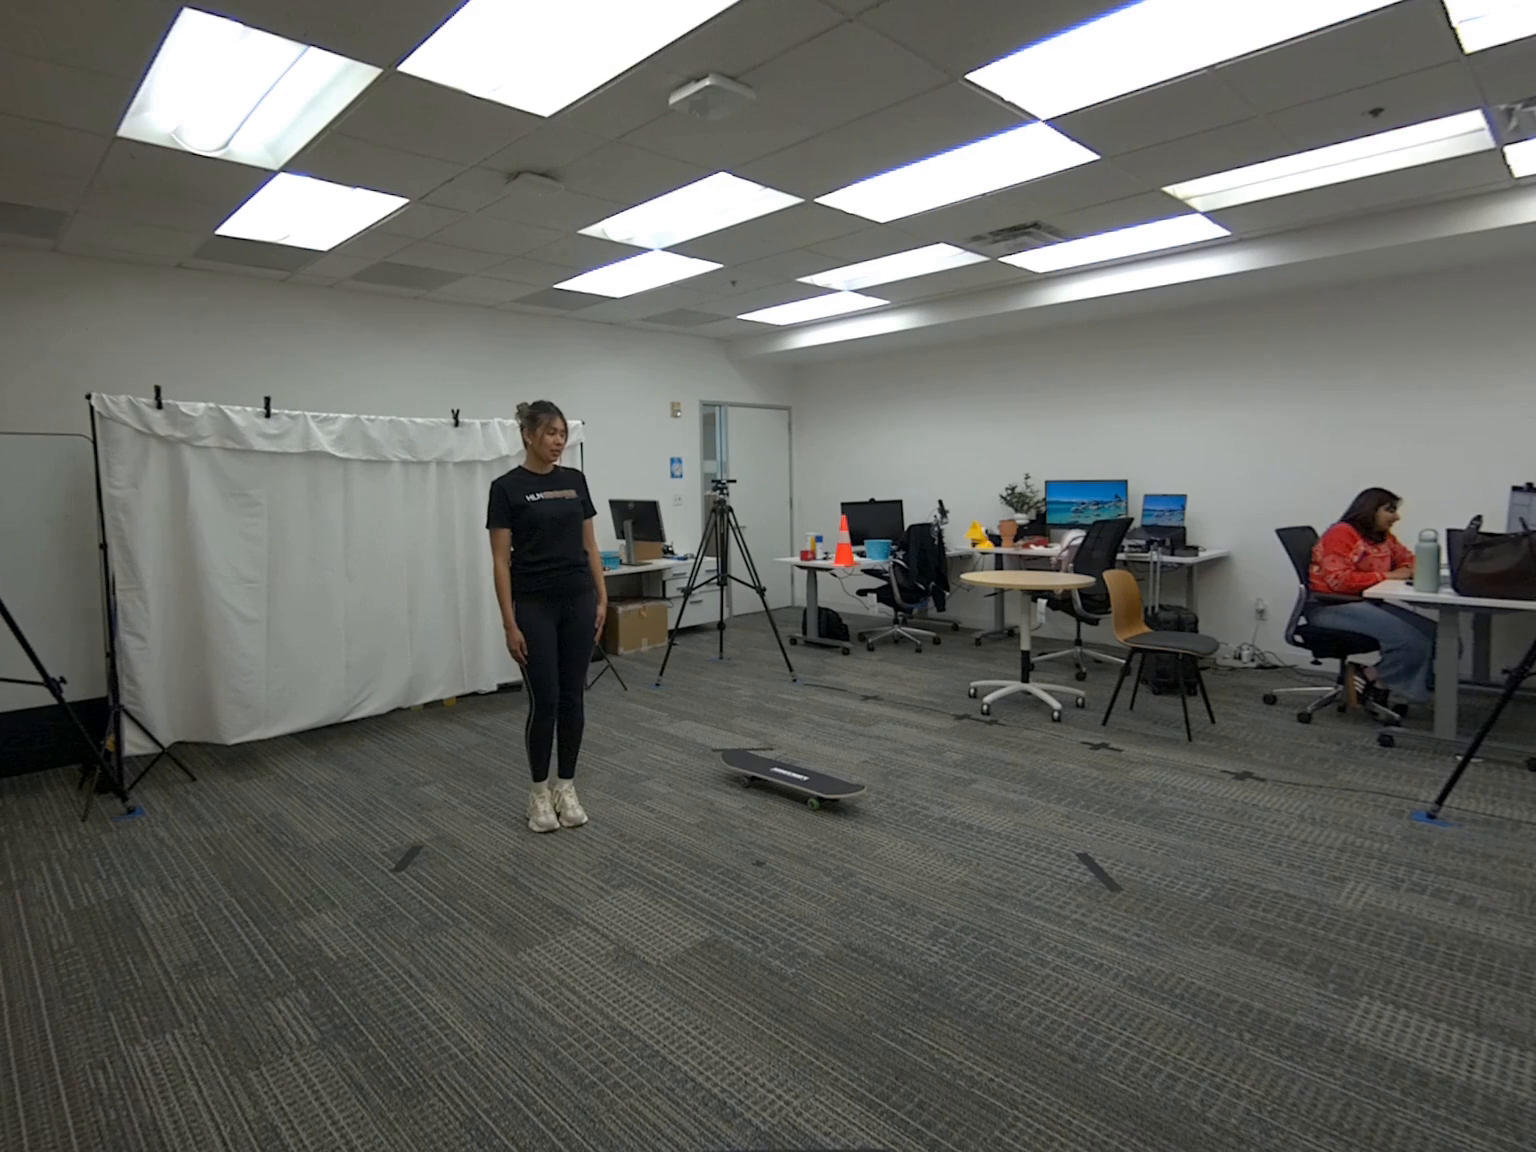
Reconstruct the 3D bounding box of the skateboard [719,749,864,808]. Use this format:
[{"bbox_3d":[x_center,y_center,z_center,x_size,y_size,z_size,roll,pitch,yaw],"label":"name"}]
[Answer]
[{"bbox_3d":[0.100,0.912,3.798,0.810,0.110,0.188,5,9,43],"label":"skateboard"}]
